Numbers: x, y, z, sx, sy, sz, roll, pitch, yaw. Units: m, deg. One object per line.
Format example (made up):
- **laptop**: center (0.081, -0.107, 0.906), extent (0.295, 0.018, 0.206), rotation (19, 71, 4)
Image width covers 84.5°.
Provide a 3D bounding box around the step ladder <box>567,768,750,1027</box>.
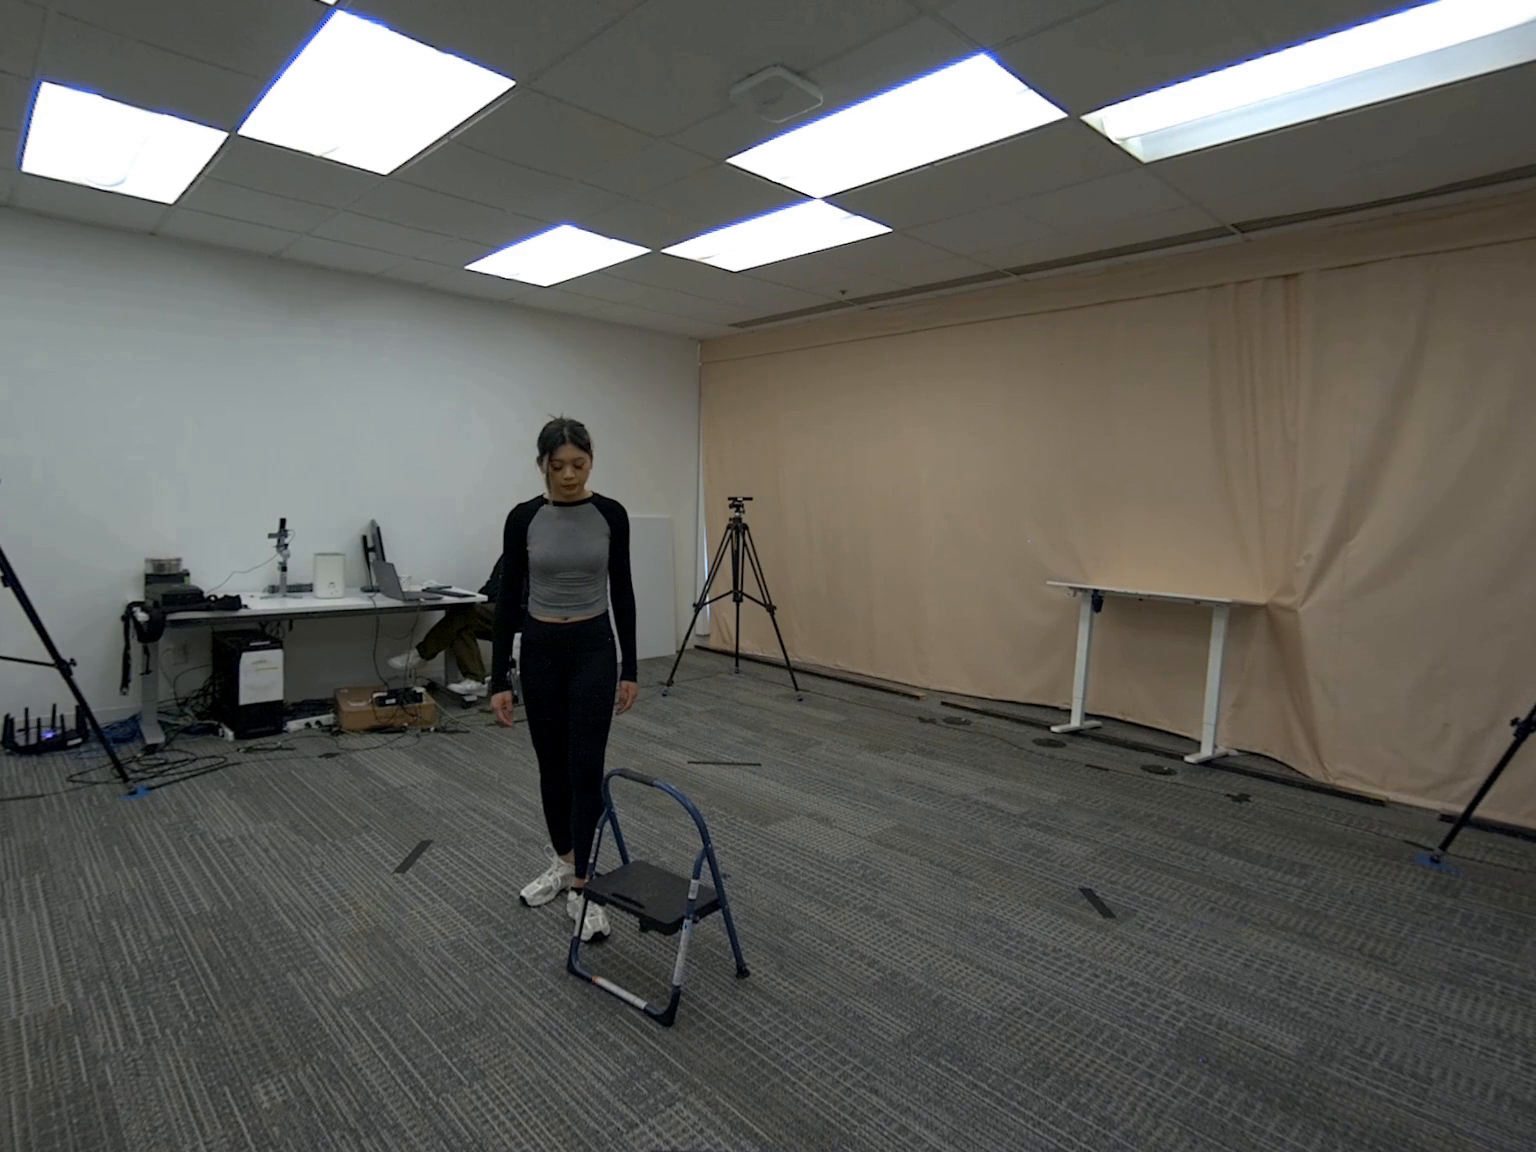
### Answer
- **step ladder**: center (-0.321, 0.862, 2.445), extent (0.441, 0.605, 0.341), rotation (4, 4, 37)
